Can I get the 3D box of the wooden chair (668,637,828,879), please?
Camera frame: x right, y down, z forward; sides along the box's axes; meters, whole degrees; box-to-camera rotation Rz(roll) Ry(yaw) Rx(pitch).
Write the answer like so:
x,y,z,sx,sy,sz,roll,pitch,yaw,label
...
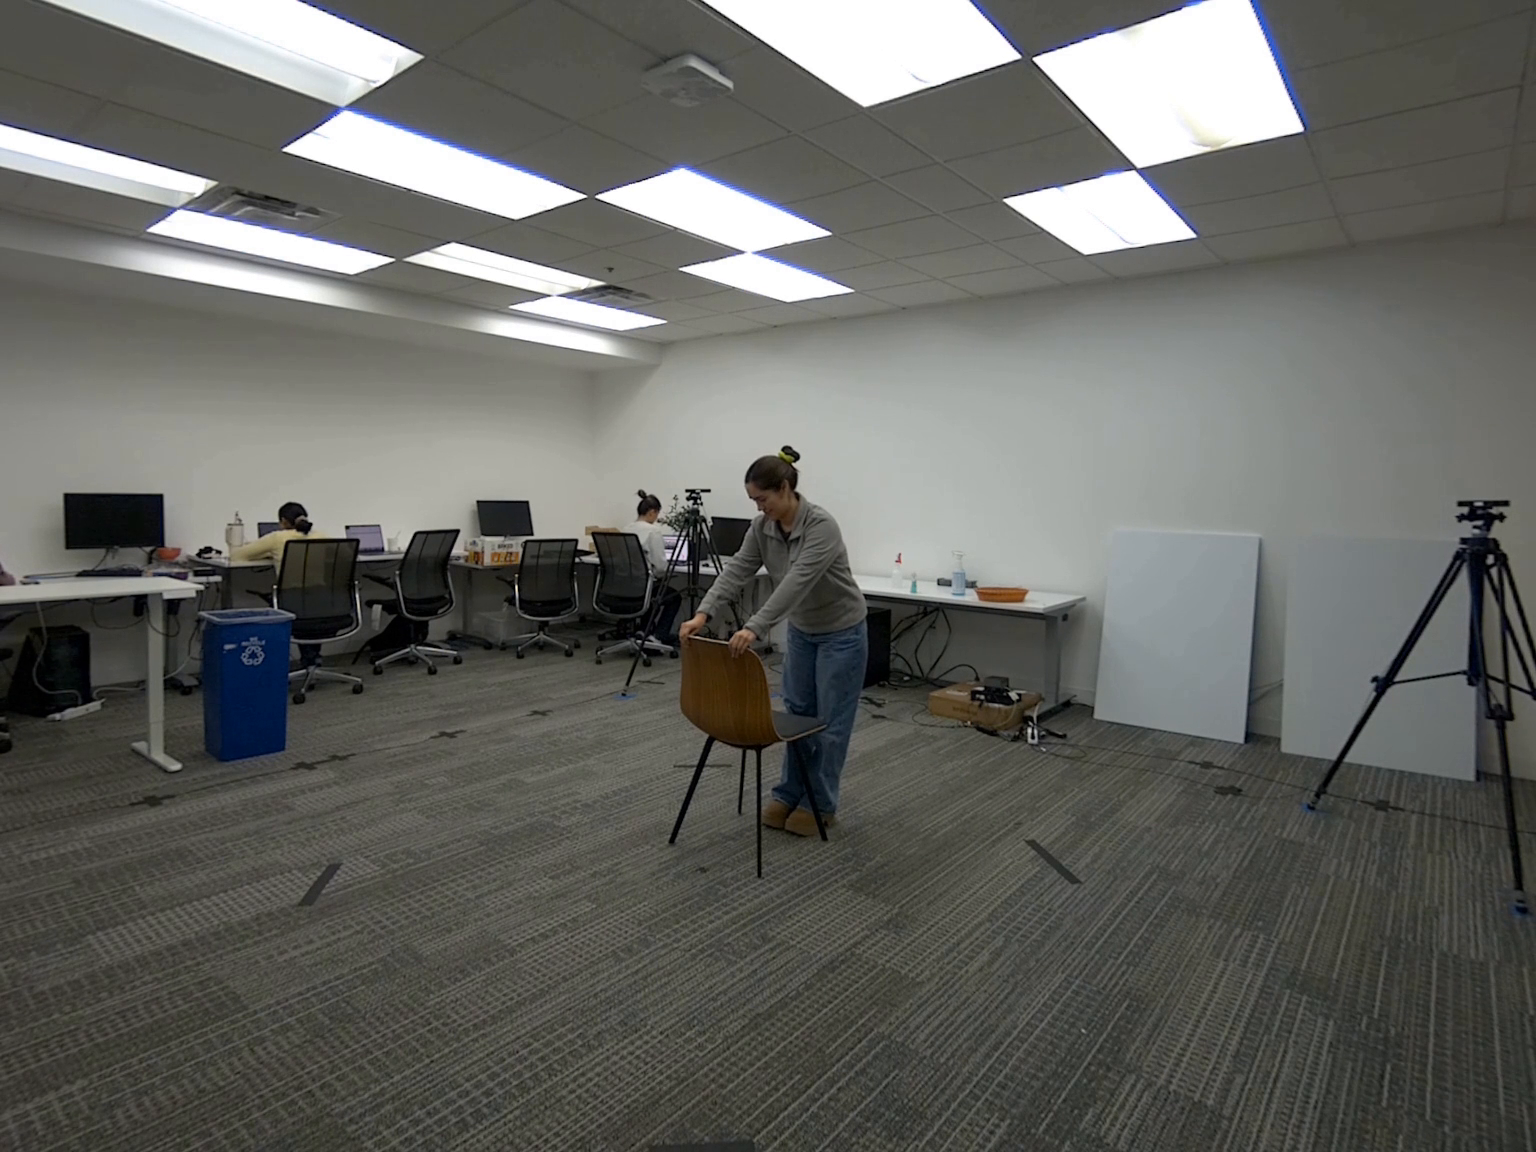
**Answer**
x,y,z,sx,sy,sz,roll,pitch,yaw,label
-0.077,0.627,3.343,0.494,0.872,0.509,4,8,38,wooden chair
